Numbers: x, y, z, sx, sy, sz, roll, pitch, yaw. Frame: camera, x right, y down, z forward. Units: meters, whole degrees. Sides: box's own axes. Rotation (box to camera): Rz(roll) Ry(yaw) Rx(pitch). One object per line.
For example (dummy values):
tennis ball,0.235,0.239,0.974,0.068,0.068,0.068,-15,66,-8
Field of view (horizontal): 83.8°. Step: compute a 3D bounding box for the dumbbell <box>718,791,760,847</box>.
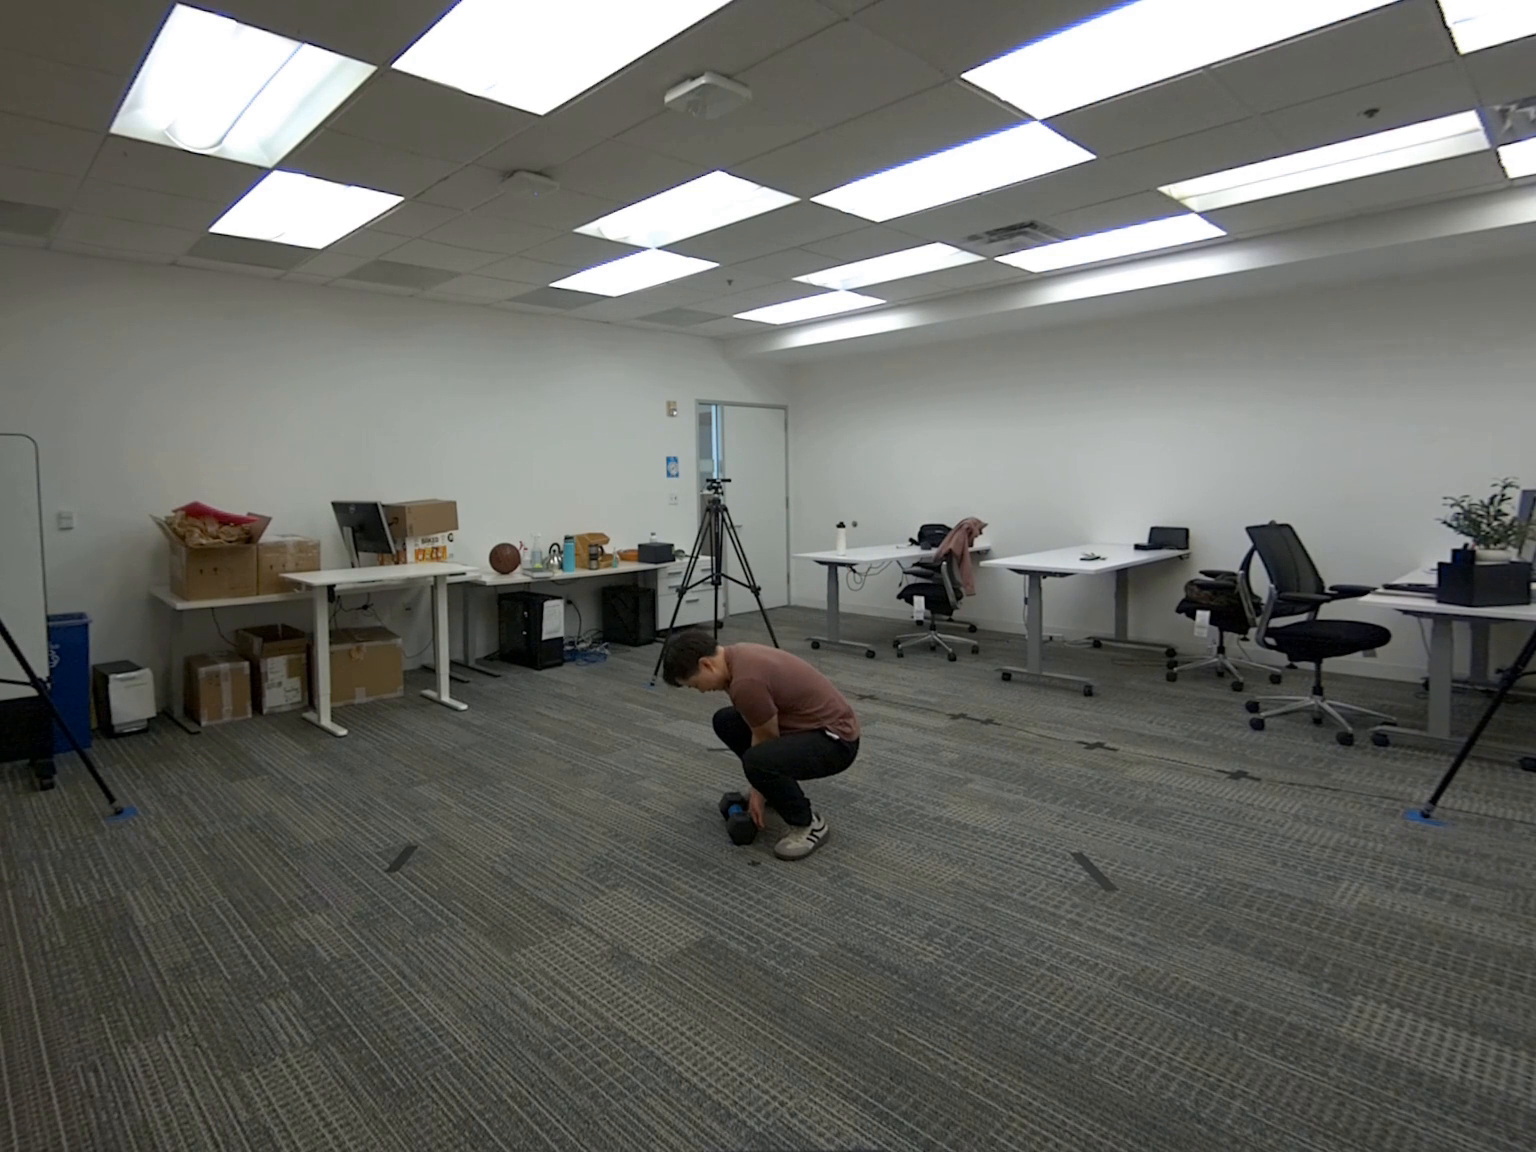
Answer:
dumbbell,-0.119,0.963,3.398,0.107,0.123,0.298,30,3,-12
